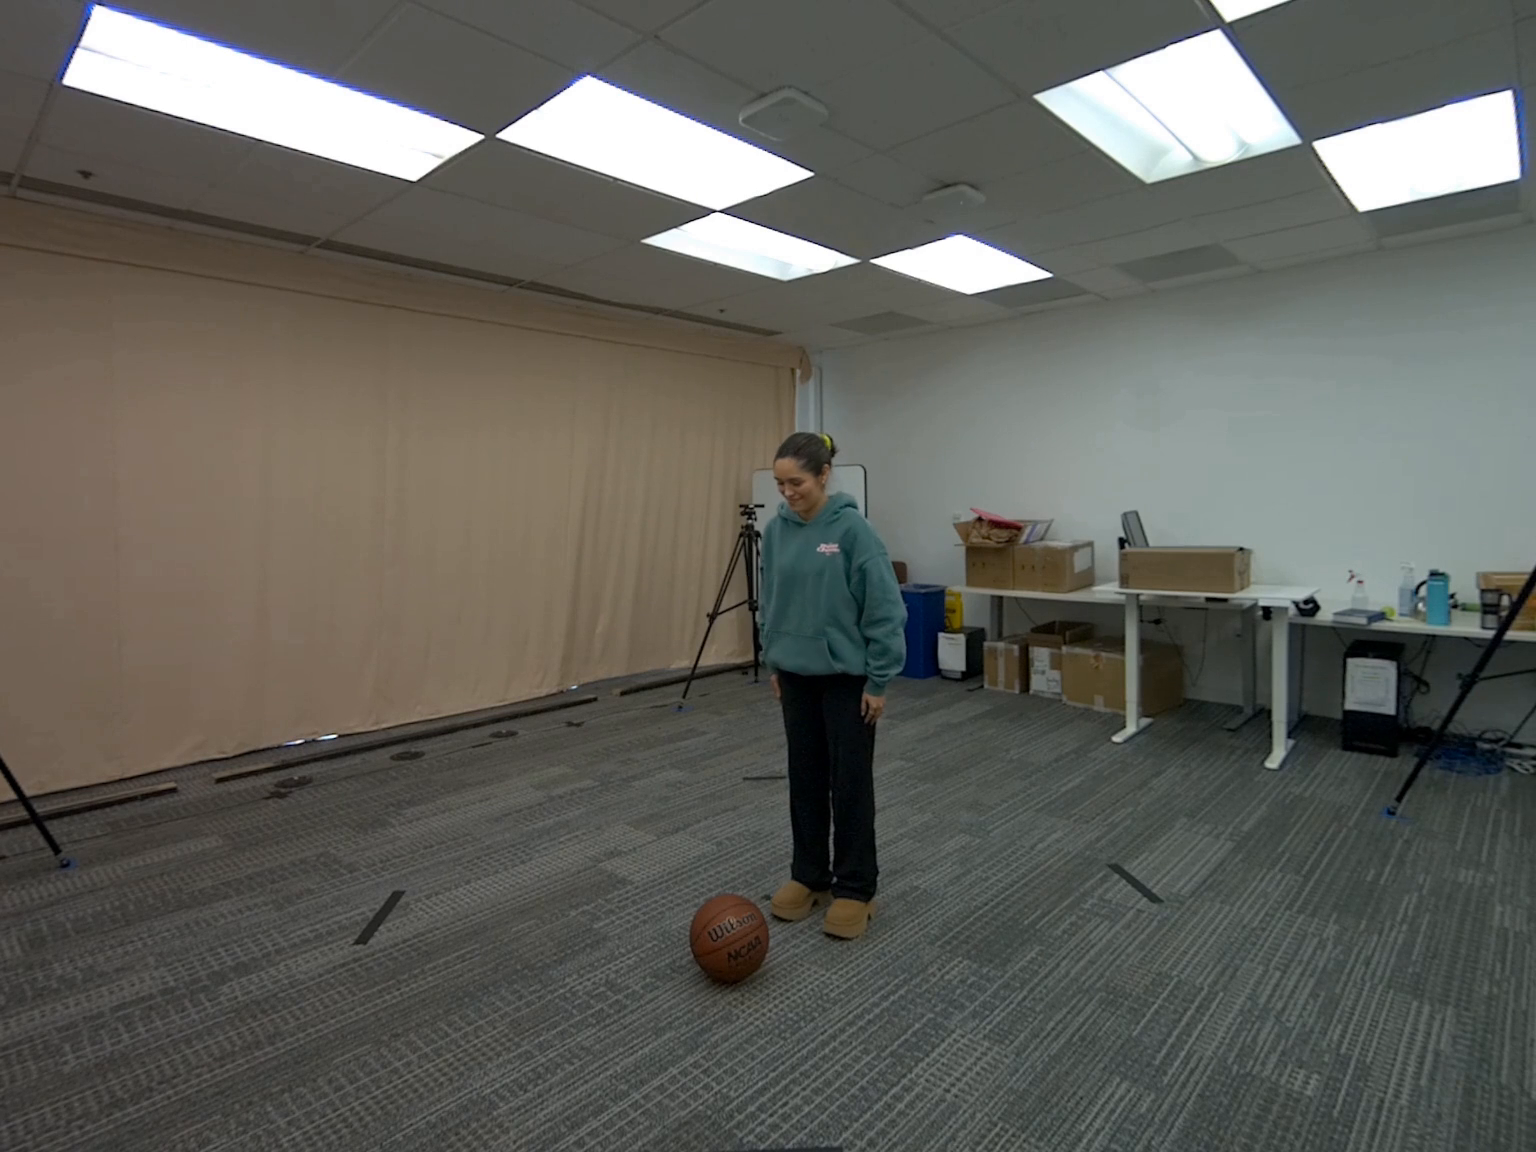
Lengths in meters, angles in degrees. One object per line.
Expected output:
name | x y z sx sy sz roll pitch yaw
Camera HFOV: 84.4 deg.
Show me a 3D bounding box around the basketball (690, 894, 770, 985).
basketball | -0.111 1.066 2.478 0.236 0.235 0.237 -1 4 -2
